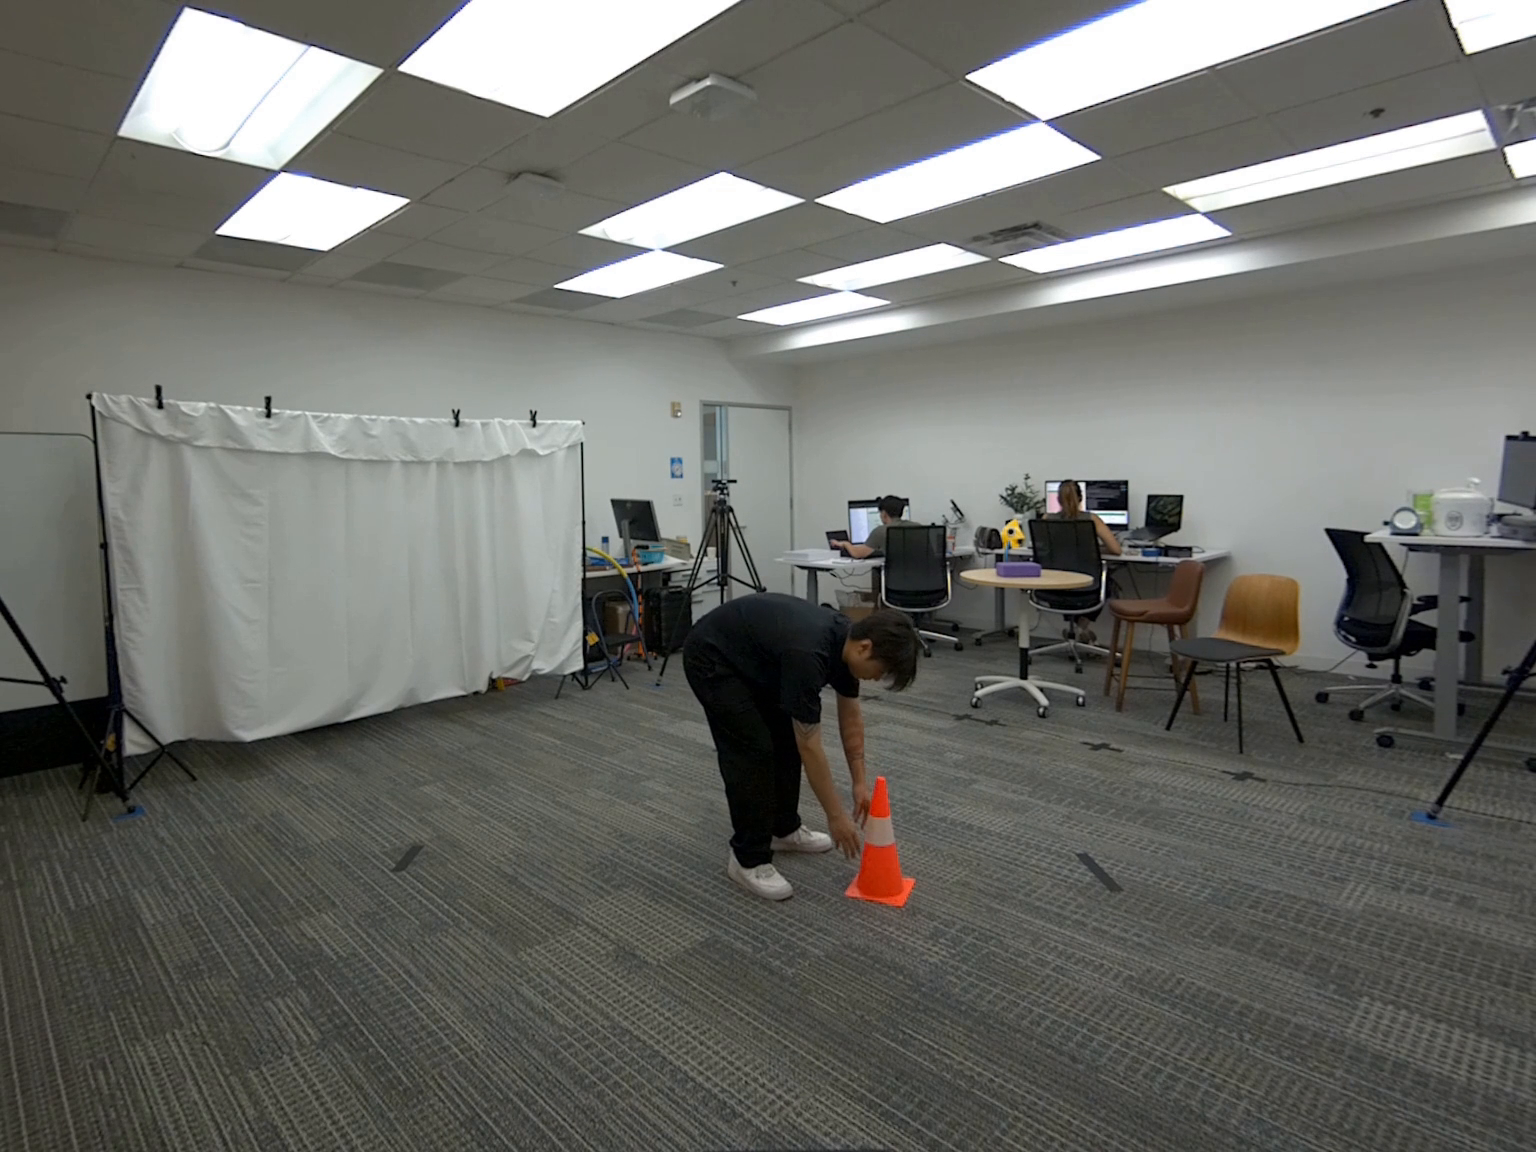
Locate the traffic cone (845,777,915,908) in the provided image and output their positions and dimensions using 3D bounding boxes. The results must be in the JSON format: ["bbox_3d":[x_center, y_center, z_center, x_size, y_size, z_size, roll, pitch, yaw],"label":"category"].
[{"bbox_3d":[0.379,0.875,2.899,0.209,0.382,0.200,1,4,22],"label":"traffic cone"}]
